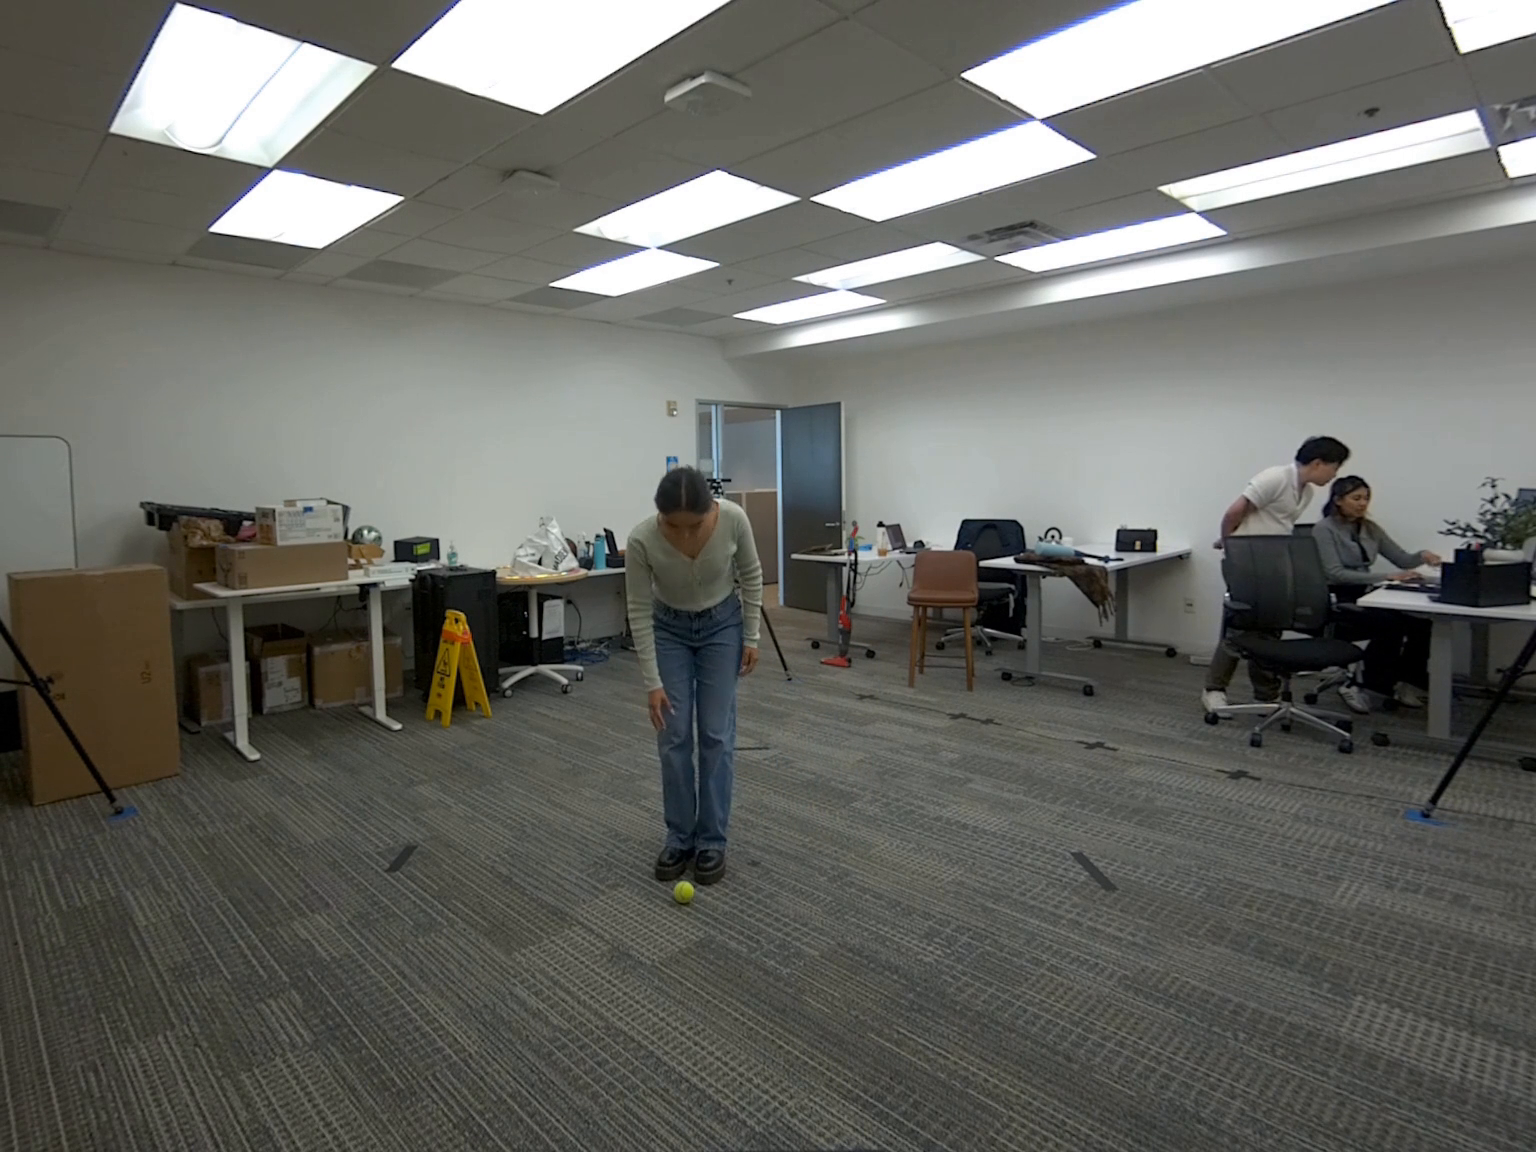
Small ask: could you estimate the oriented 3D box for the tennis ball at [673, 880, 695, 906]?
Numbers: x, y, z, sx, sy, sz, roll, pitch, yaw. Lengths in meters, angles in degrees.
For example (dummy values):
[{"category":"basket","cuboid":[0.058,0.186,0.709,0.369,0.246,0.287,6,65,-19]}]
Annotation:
[{"category":"tennis ball","cuboid":[-0.271,1.039,2.827,0.066,0.066,0.067,-1,5,-2]}]
